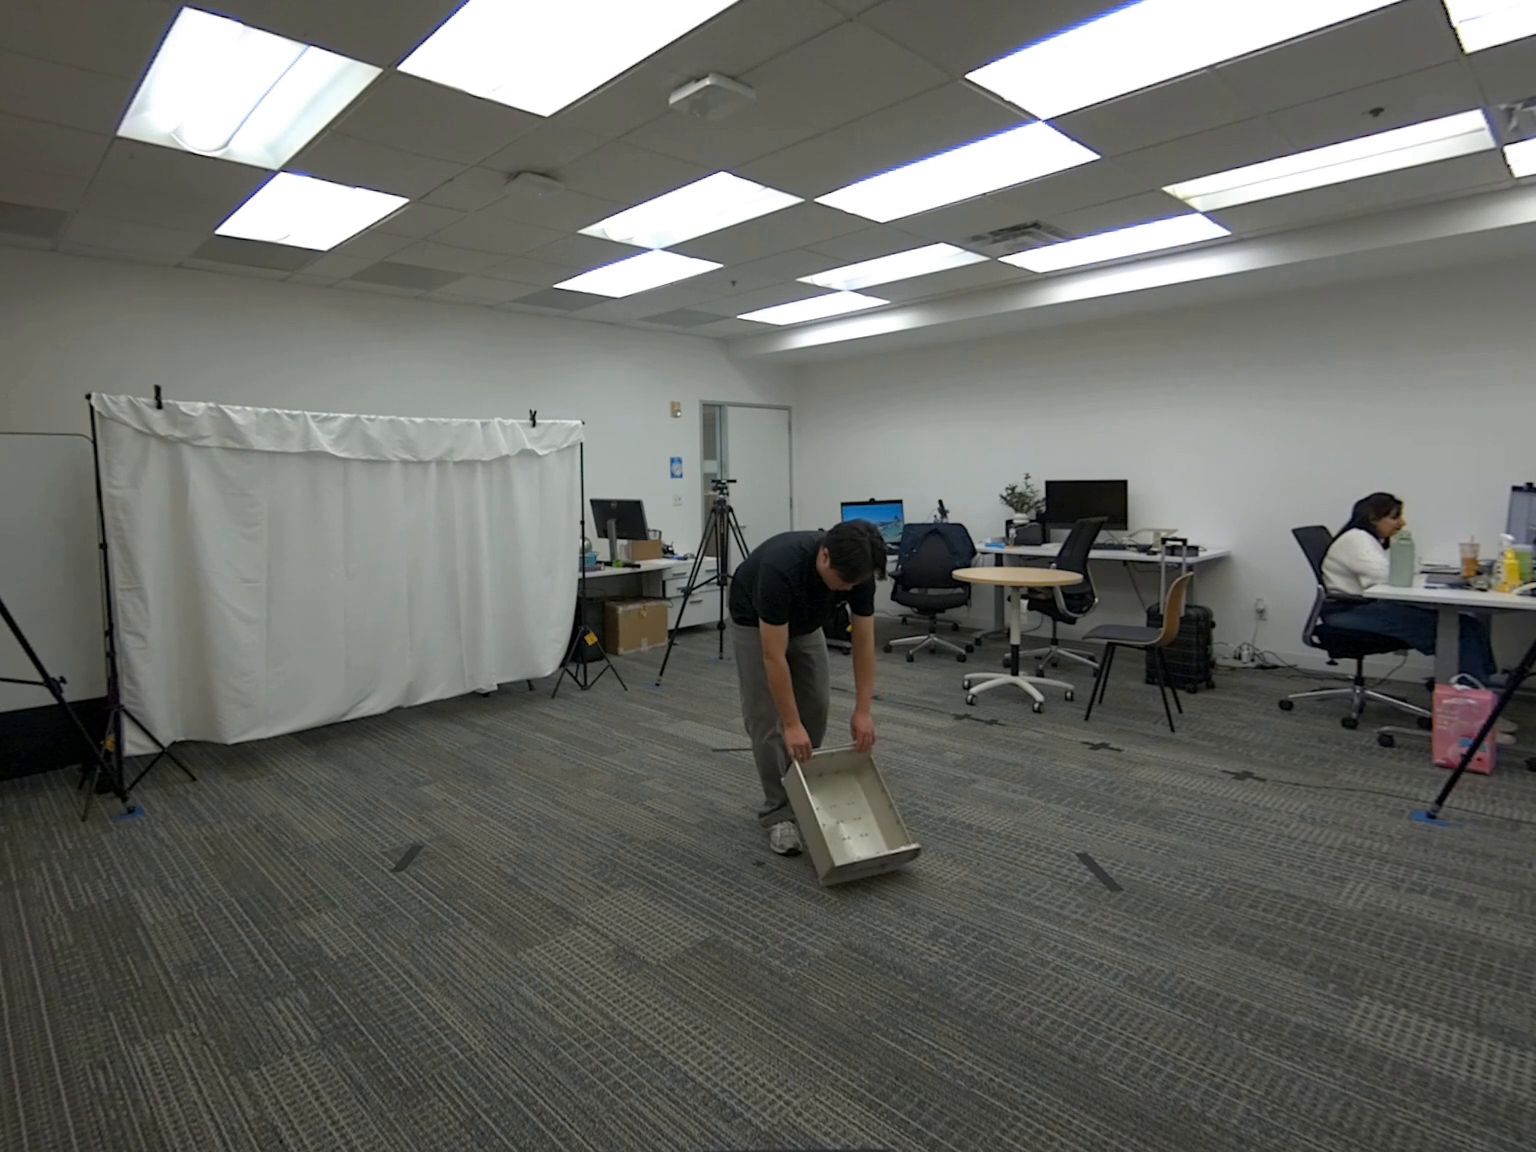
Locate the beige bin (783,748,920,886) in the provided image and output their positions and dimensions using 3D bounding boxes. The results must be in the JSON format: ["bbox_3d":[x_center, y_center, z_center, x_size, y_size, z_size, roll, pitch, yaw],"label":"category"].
[{"bbox_3d":[0.303,0.840,3.061,0.370,0.186,0.437,-5,48,-23],"label":"beige bin"}]
